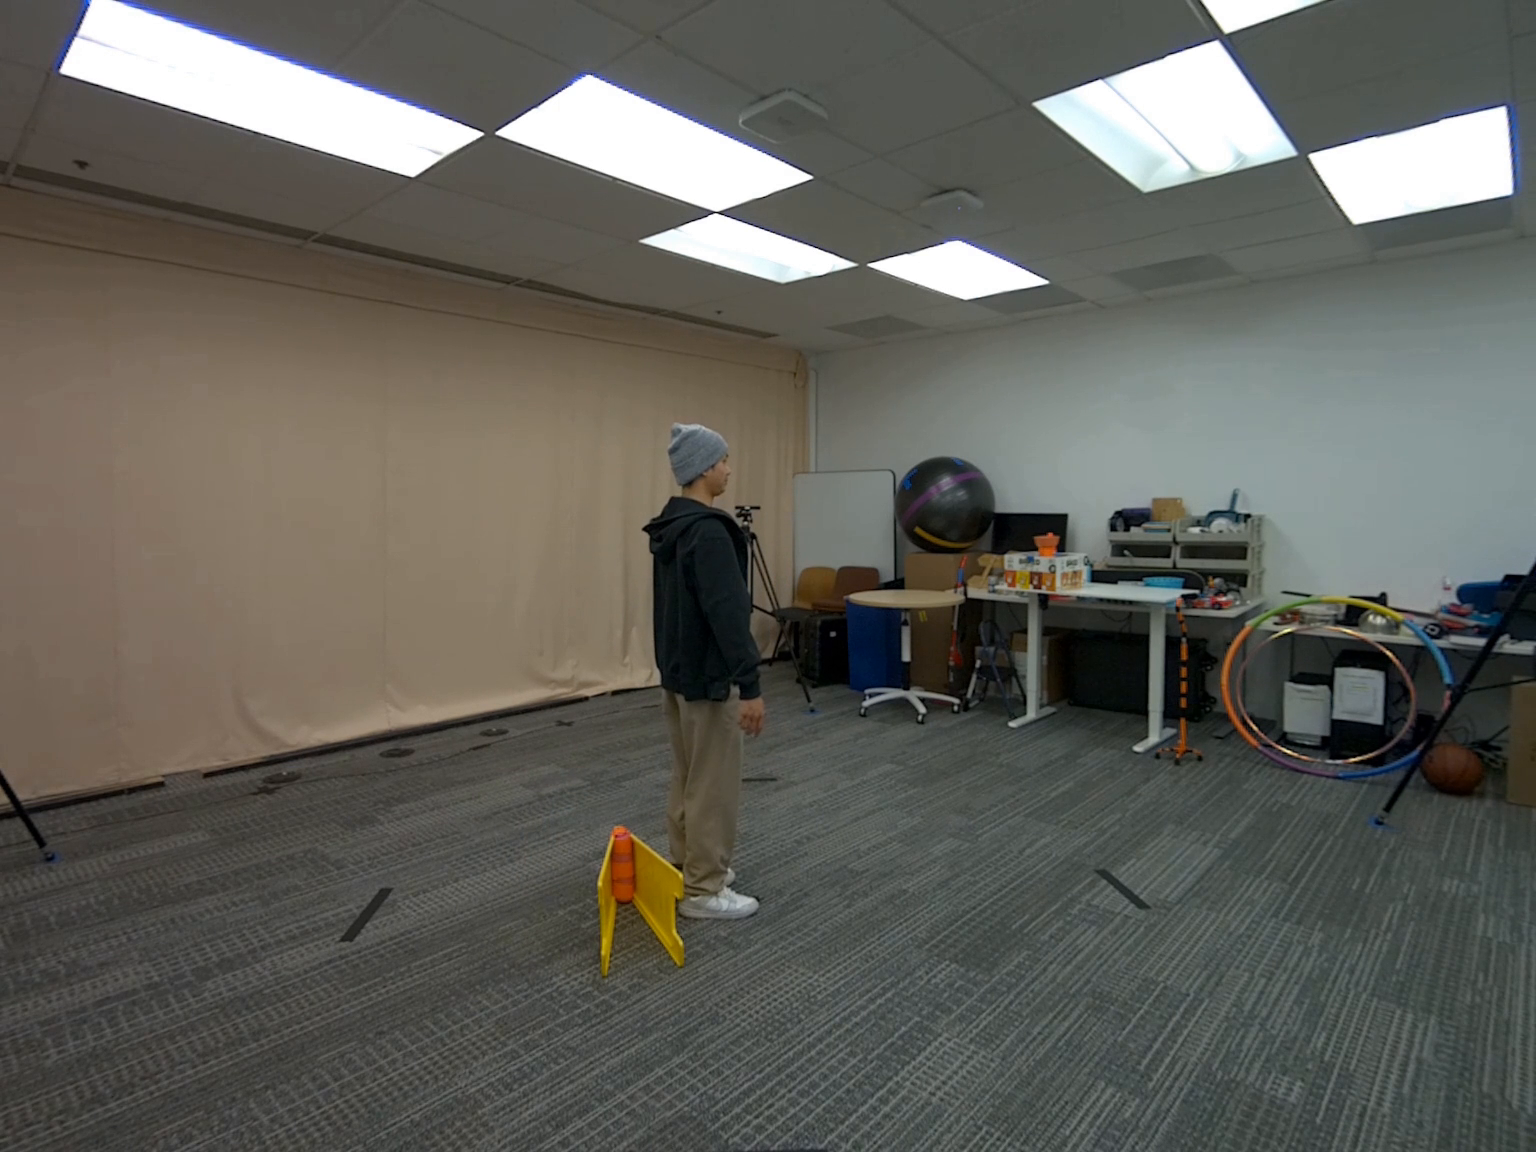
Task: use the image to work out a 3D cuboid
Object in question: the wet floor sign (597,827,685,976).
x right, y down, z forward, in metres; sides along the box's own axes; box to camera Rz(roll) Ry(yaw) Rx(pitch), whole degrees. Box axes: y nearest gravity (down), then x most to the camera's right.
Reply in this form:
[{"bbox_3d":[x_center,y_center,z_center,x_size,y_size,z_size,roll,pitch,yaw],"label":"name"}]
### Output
[{"bbox_3d":[-0.473,1.036,2.823,0.285,0.282,0.656,-2,1,-16],"label":"wet floor sign"}]
